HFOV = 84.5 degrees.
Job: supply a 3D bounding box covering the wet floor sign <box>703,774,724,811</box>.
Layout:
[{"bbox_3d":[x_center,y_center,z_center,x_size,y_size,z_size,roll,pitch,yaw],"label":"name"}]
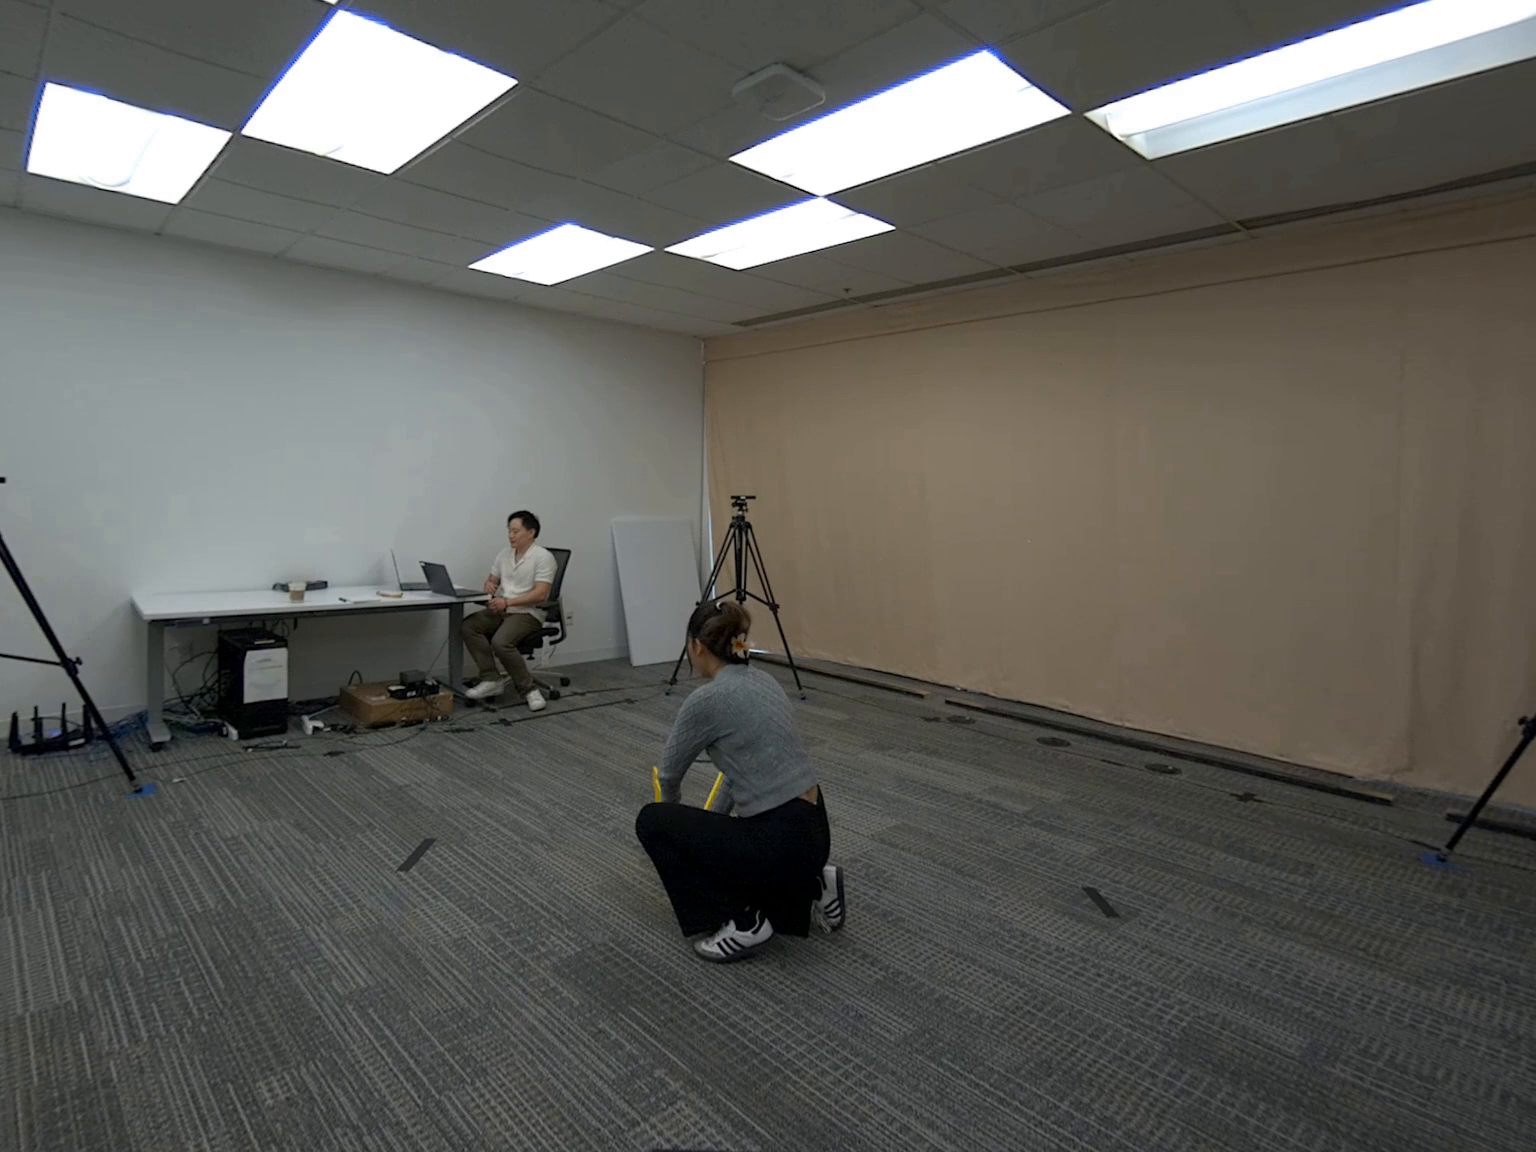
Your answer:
[{"bbox_3d":[-0.307,0.974,3.164,0.289,0.281,0.651,0,8,-5],"label":"wet floor sign"}]
